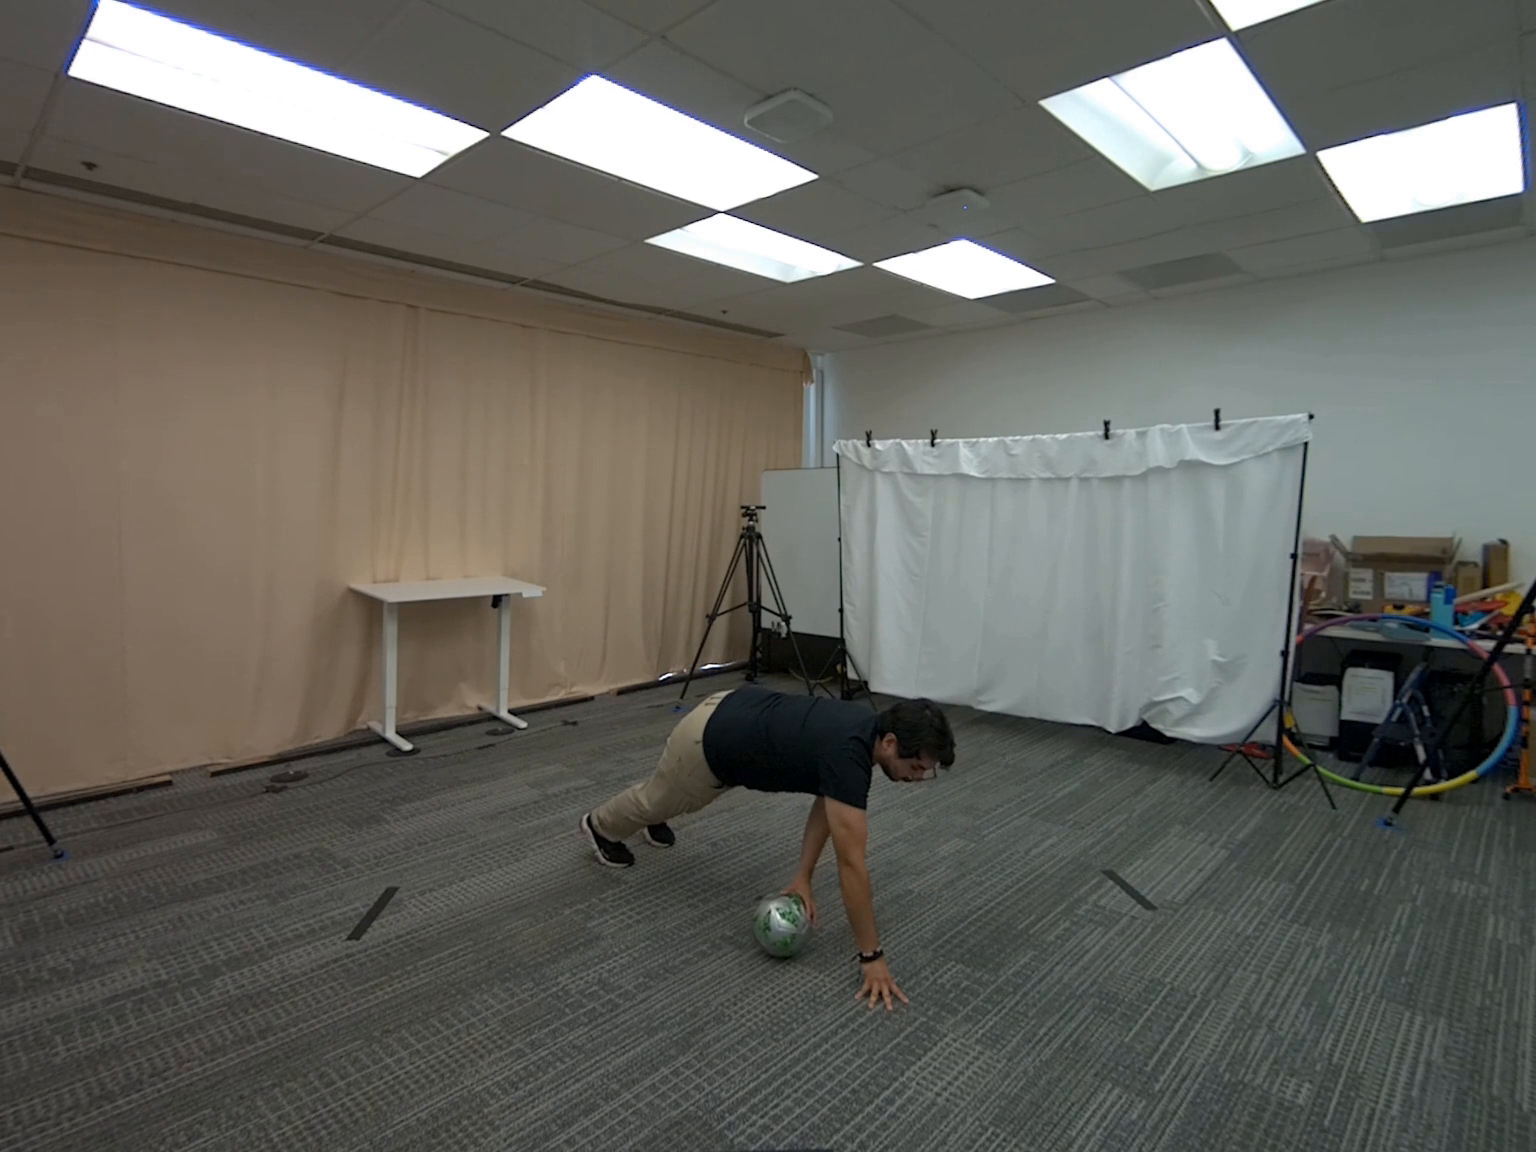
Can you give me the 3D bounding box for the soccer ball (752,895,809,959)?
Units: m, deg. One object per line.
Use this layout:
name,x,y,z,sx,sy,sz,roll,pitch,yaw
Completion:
soccer ball,0.053,1.084,2.615,0.187,0.187,0.188,0,4,-2
